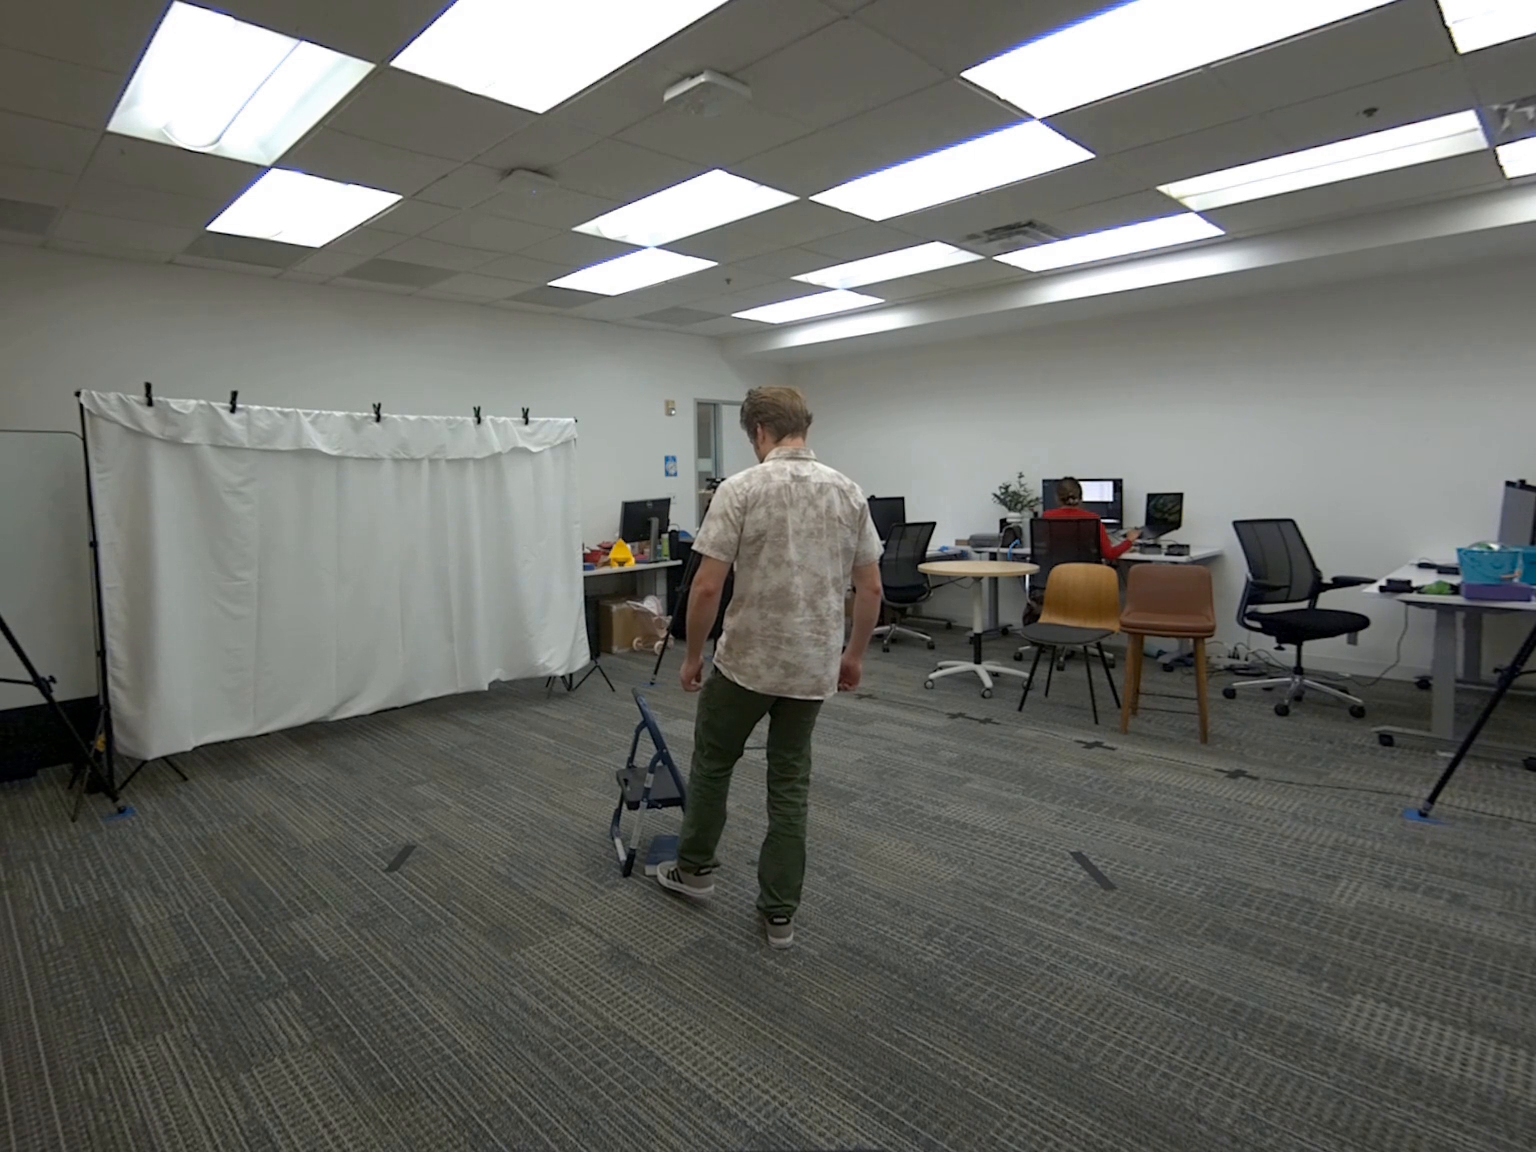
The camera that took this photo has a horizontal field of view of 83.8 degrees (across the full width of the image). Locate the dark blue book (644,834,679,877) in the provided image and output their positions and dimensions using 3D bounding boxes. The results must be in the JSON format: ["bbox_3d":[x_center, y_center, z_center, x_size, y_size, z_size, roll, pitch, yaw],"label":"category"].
[{"bbox_3d":[-0.348,1.020,3.123,0.164,0.045,0.246,-1,8,2],"label":"dark blue book"}]
